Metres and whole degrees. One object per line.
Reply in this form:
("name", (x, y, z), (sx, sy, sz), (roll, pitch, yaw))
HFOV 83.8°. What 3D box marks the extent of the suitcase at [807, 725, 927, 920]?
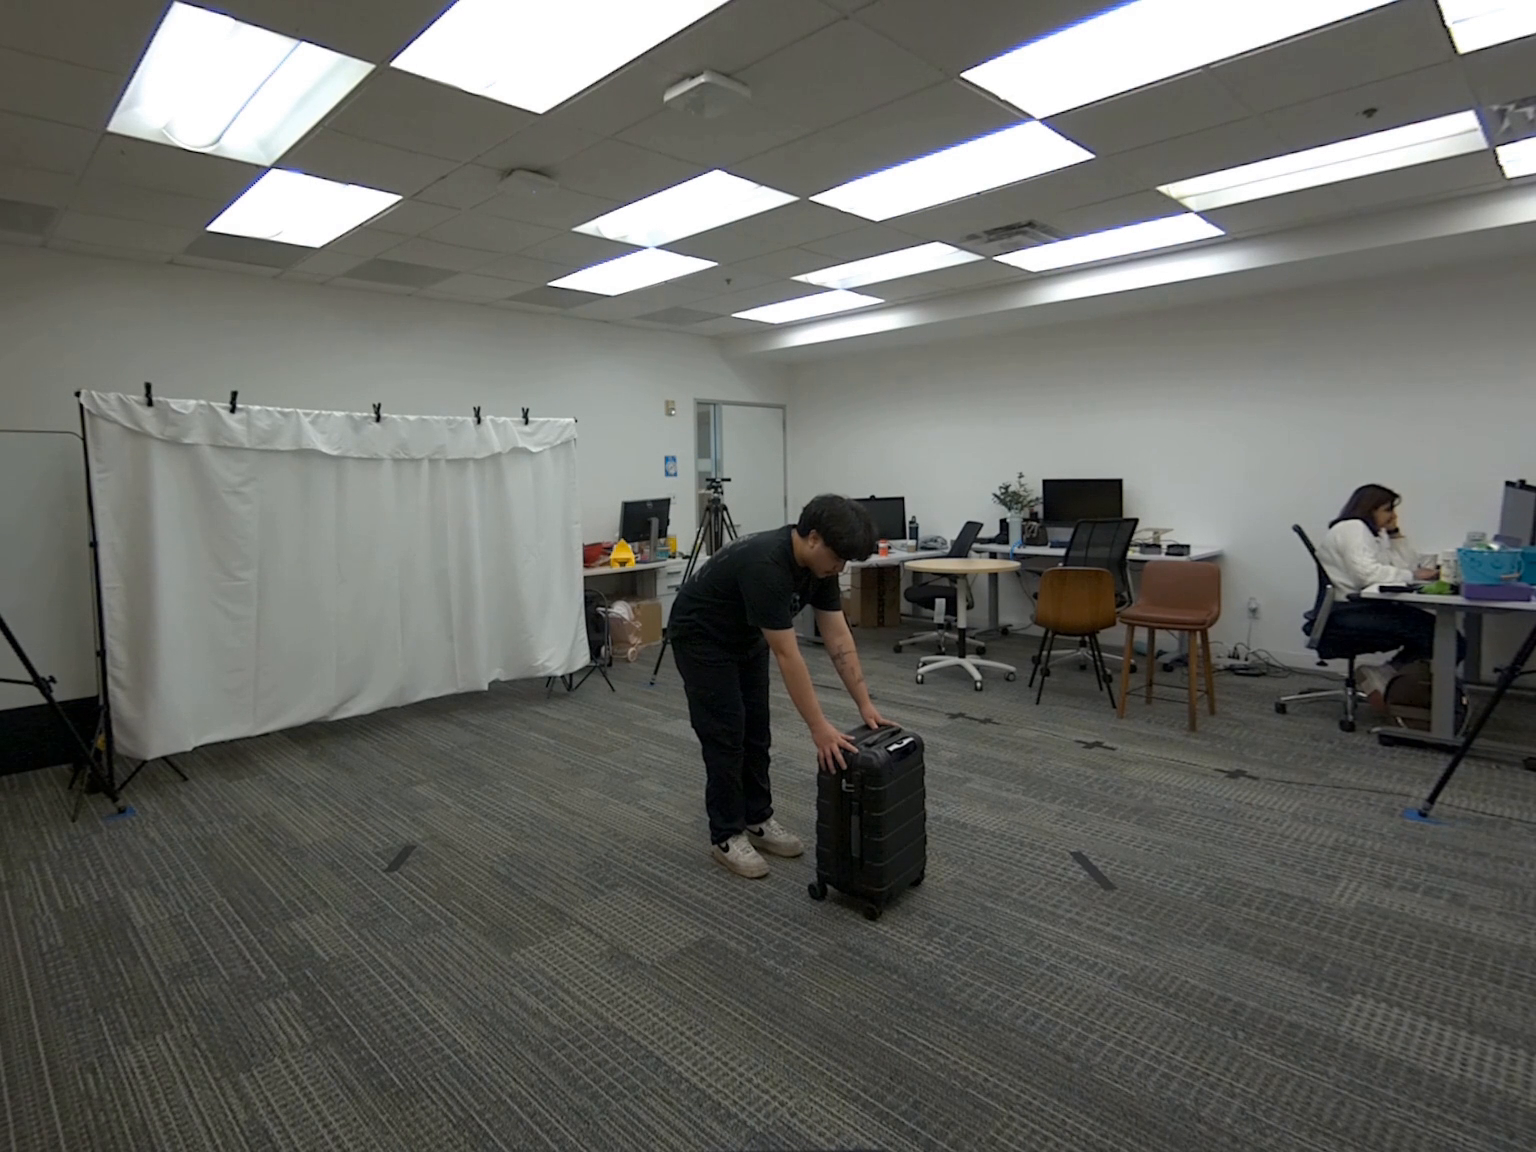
("suitcase", (0.352, 0.793, 2.844), (0.256, 0.547, 0.366), (4, 6, 37))
